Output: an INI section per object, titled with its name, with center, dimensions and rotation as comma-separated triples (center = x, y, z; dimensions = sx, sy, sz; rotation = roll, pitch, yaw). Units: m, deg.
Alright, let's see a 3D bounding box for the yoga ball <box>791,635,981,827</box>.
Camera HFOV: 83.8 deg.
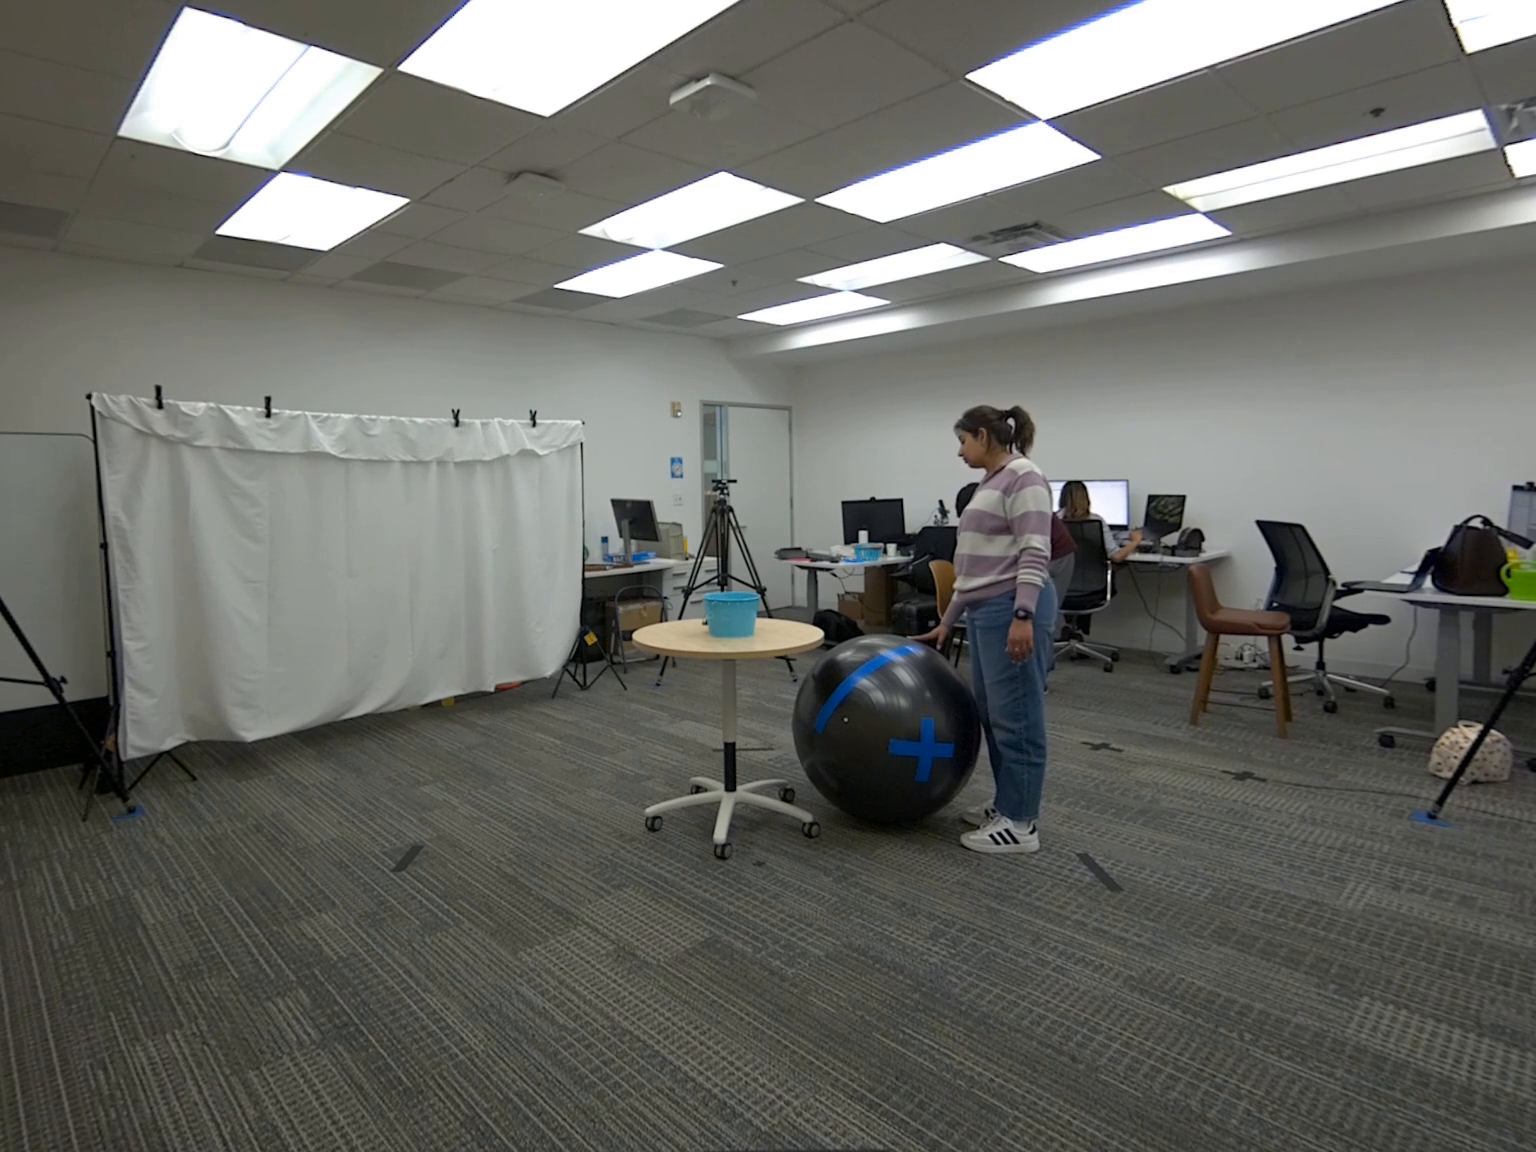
[yoga ball]
center = 0.478, 0.625, 3.517
dimensions = 0.757, 0.755, 0.762
rotation = -1, 5, -2
